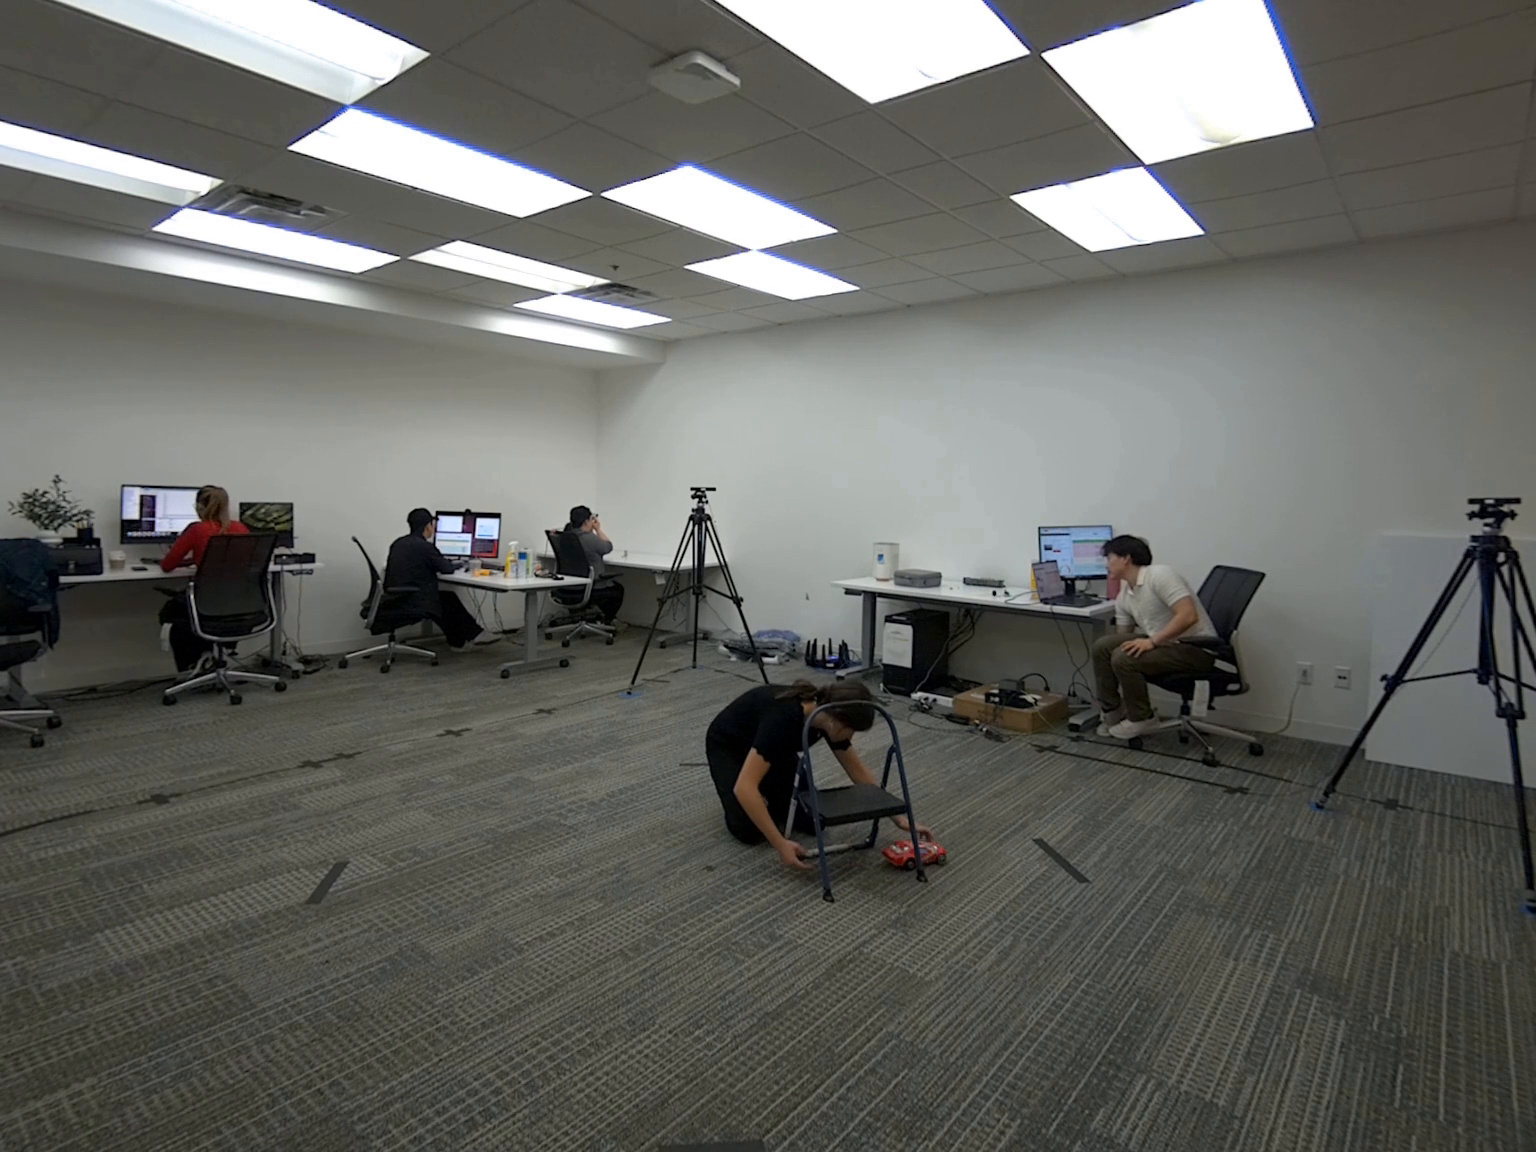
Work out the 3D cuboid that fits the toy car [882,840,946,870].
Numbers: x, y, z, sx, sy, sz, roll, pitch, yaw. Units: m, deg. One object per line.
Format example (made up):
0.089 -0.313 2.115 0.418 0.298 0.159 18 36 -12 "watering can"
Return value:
0.542 1.048 3.197 0.248 0.083 0.134 10 2 -25 "toy car"
